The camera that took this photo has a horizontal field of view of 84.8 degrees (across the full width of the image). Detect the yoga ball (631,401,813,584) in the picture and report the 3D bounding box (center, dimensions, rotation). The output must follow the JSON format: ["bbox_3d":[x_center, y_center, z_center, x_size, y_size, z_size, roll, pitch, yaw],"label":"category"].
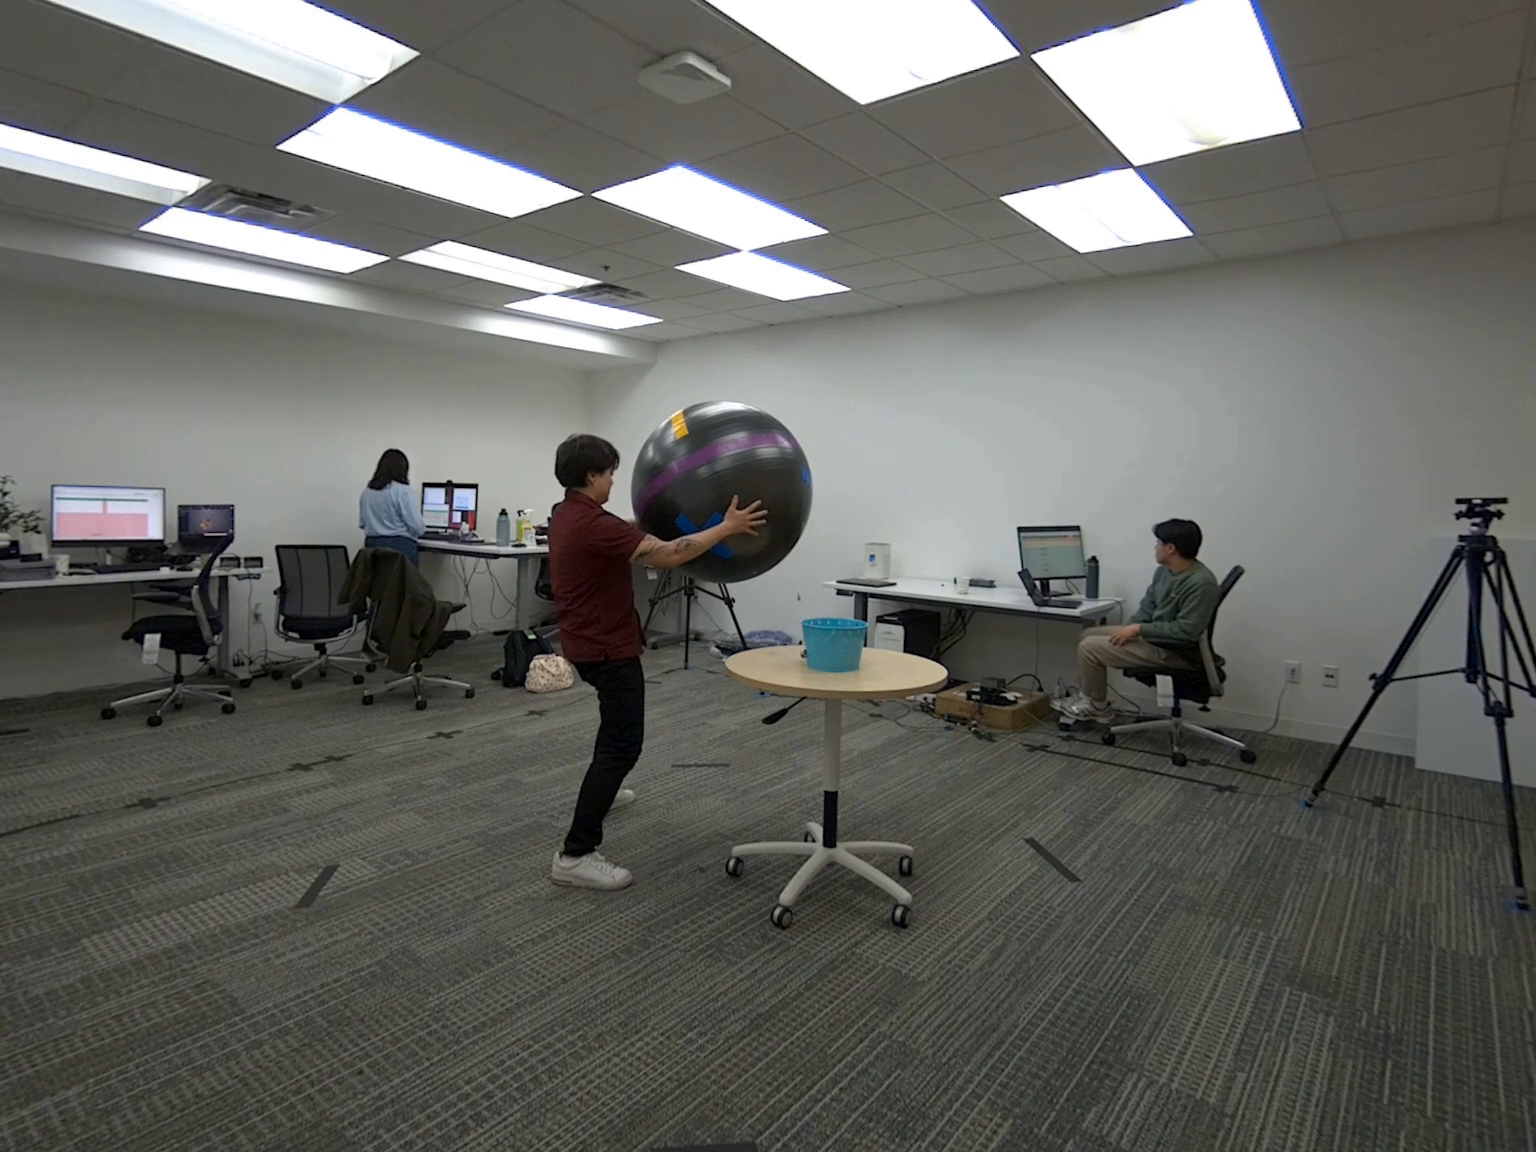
[{"bbox_3d":[-0.202,-0.350,3.568,0.757,0.756,0.761,1,4,-2],"label":"yoga ball"}]
